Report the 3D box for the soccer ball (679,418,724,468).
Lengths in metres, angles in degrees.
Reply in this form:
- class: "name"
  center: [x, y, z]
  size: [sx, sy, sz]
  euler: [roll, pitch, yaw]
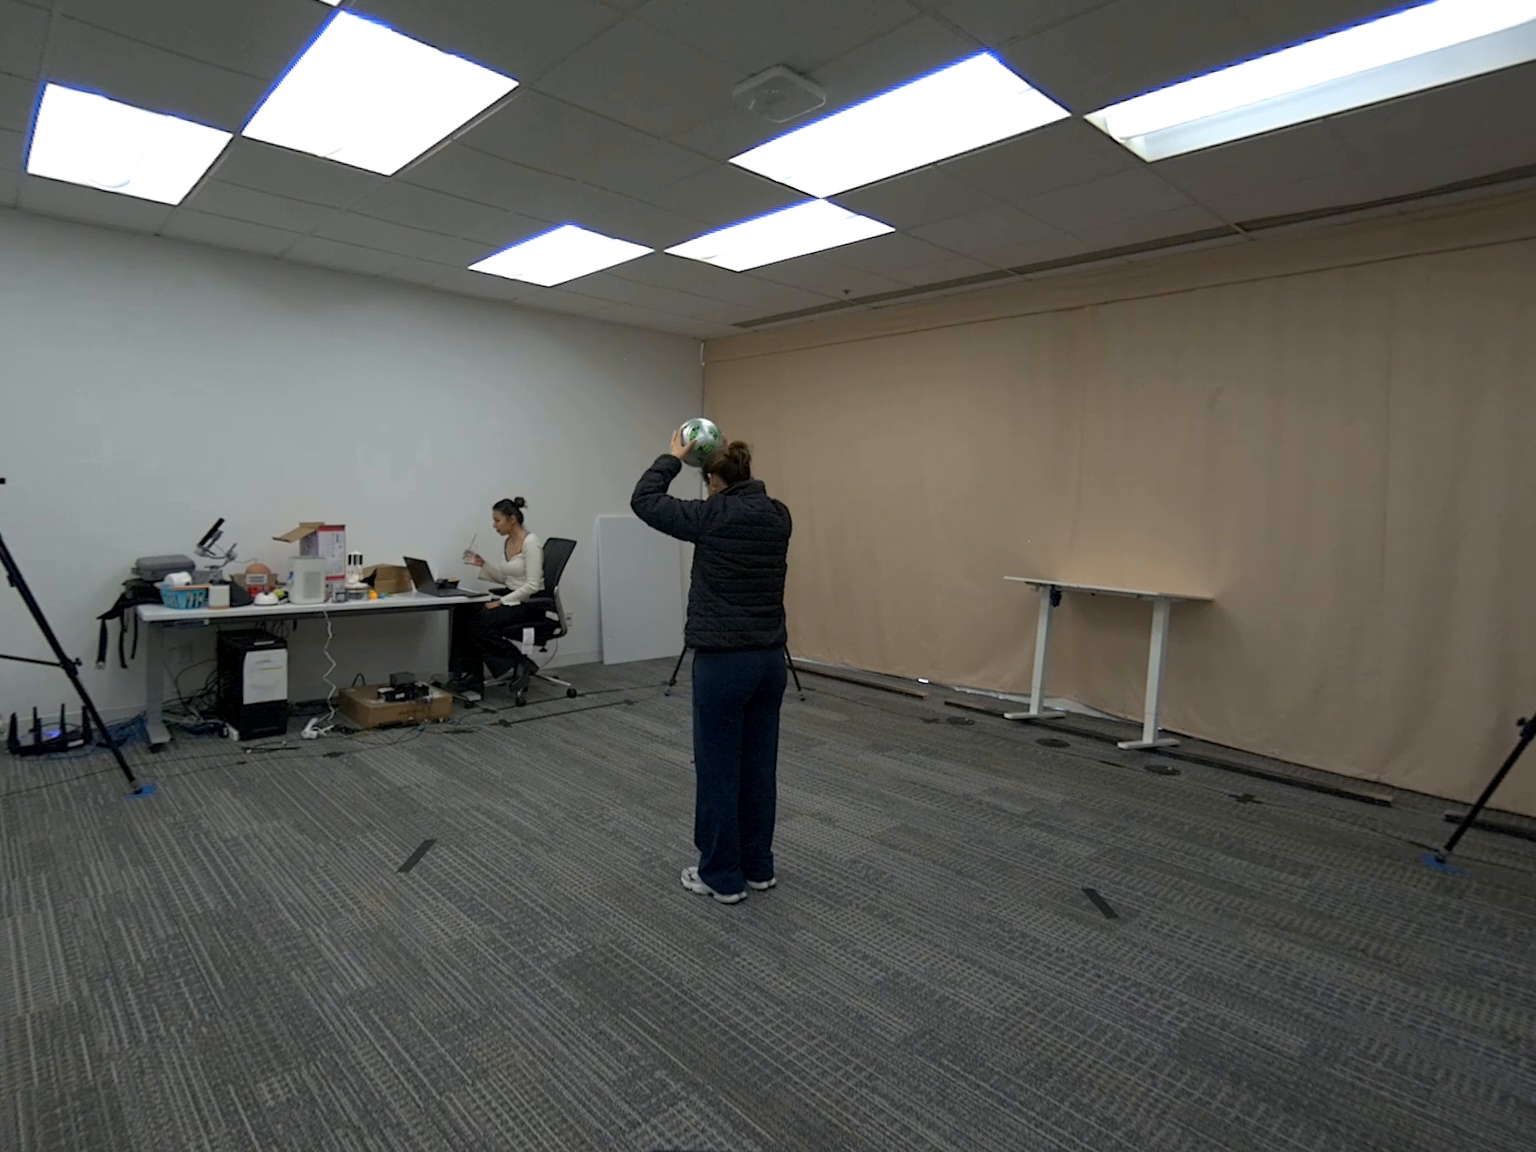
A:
- class: "soccer ball"
  center: [-0.269, -0.491, 3.225]
  size: [0.187, 0.187, 0.188]
  euler: [1, 4, -1]
